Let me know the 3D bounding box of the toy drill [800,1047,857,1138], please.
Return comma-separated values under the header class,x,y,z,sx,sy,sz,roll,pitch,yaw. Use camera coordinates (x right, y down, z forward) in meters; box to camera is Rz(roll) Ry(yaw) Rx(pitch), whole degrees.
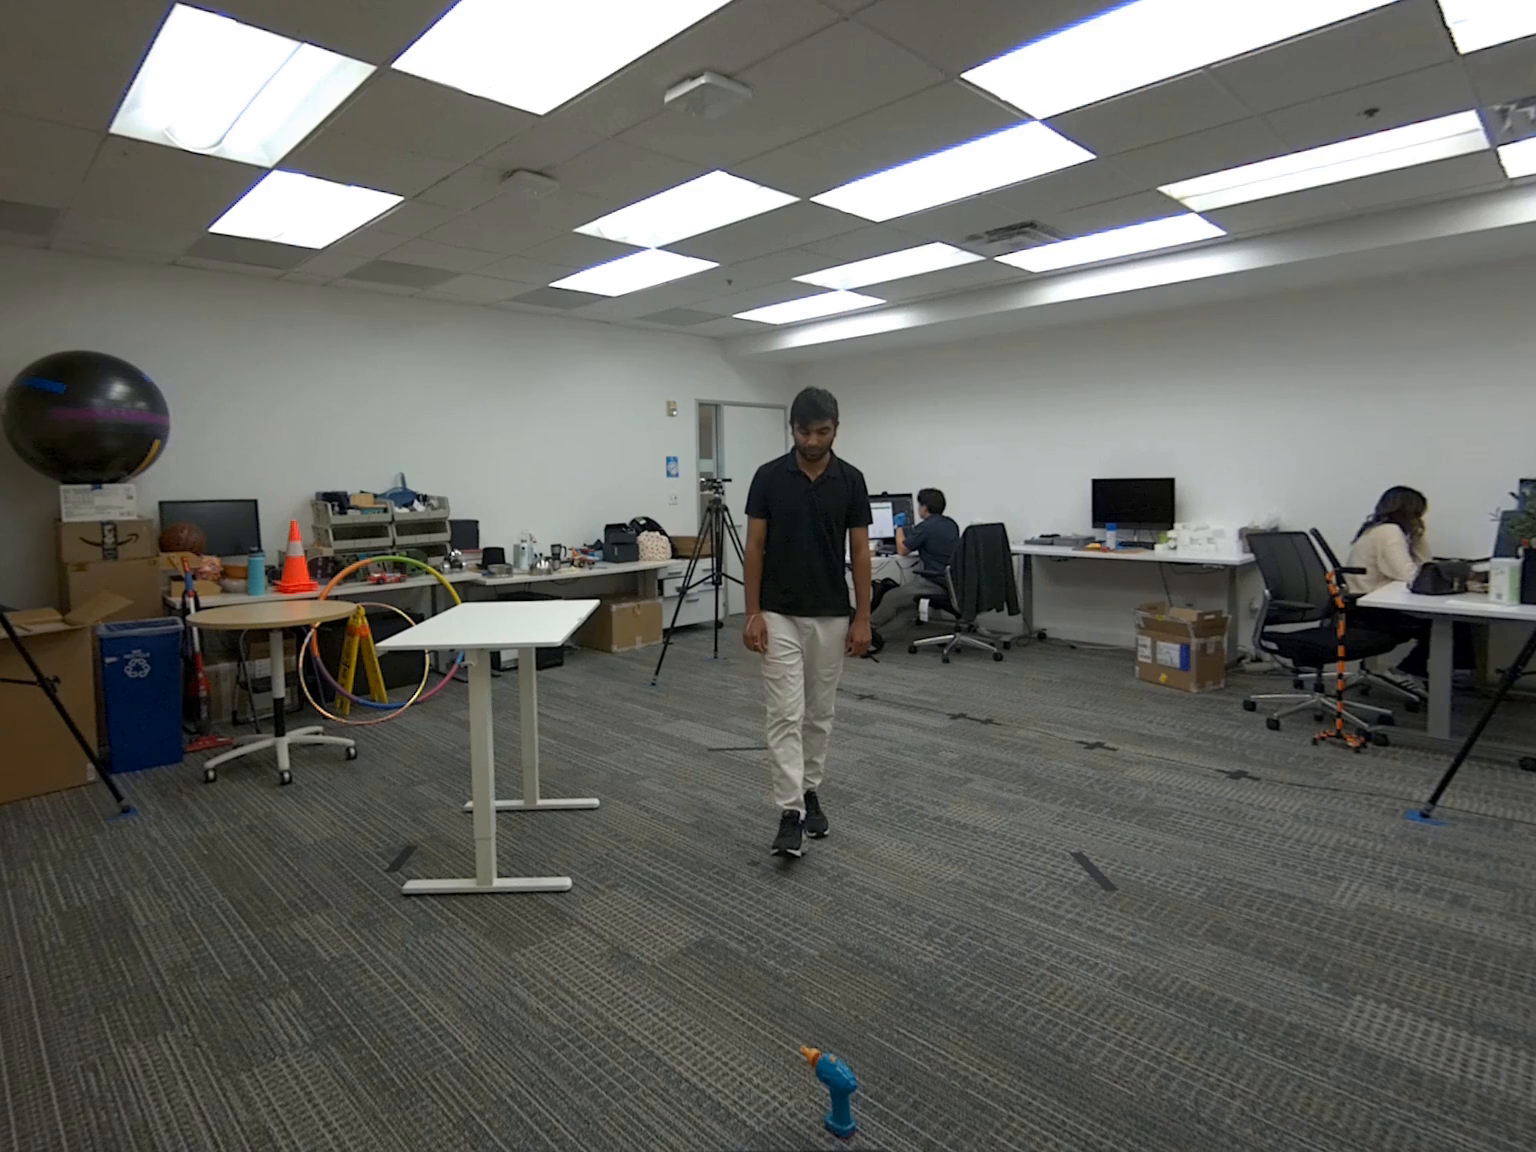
class,x,y,z,sx,sy,sz,roll,pitch,yaw
toy drill,0.140,1.121,1.861,0.059,0.145,0.175,-2,6,-38
